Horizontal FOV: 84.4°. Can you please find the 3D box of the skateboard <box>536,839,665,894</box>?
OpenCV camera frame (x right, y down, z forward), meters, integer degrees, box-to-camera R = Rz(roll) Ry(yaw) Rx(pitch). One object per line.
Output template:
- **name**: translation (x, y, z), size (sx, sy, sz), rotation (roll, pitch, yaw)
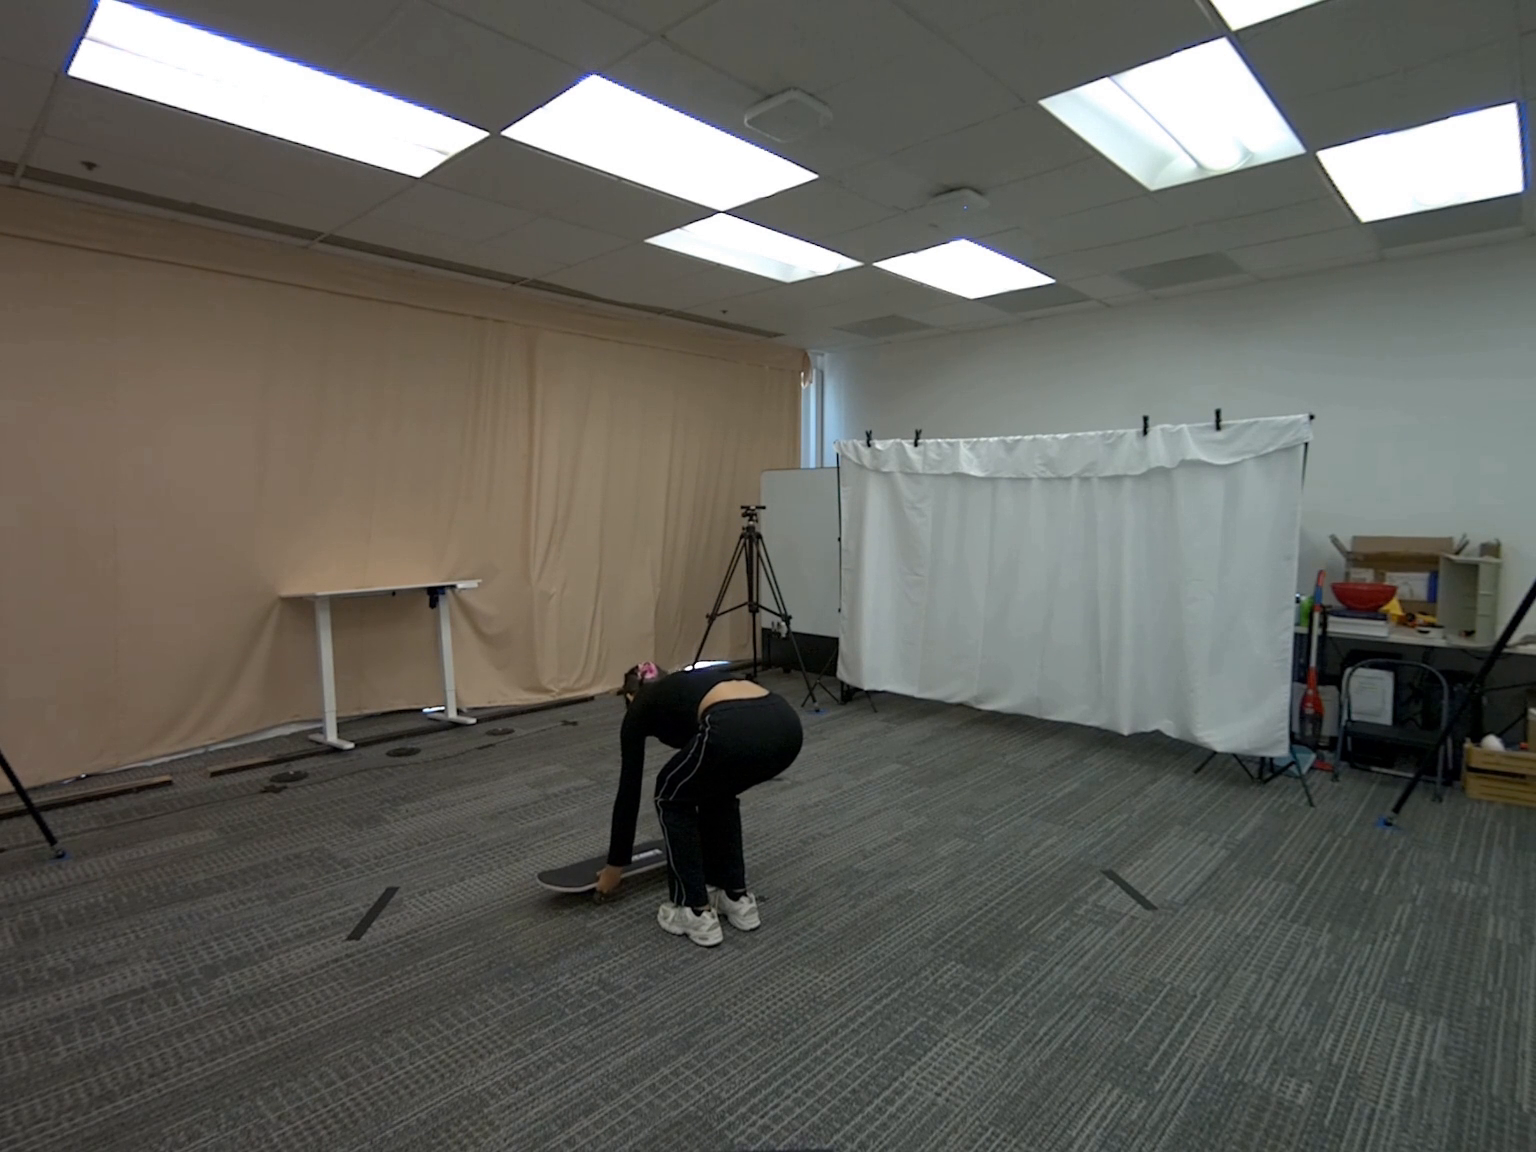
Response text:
- **skateboard**: translation (-0.489, 1.074, 3.128), size (0.762, 0.110, 0.199), rotation (-4, 5, -37)
